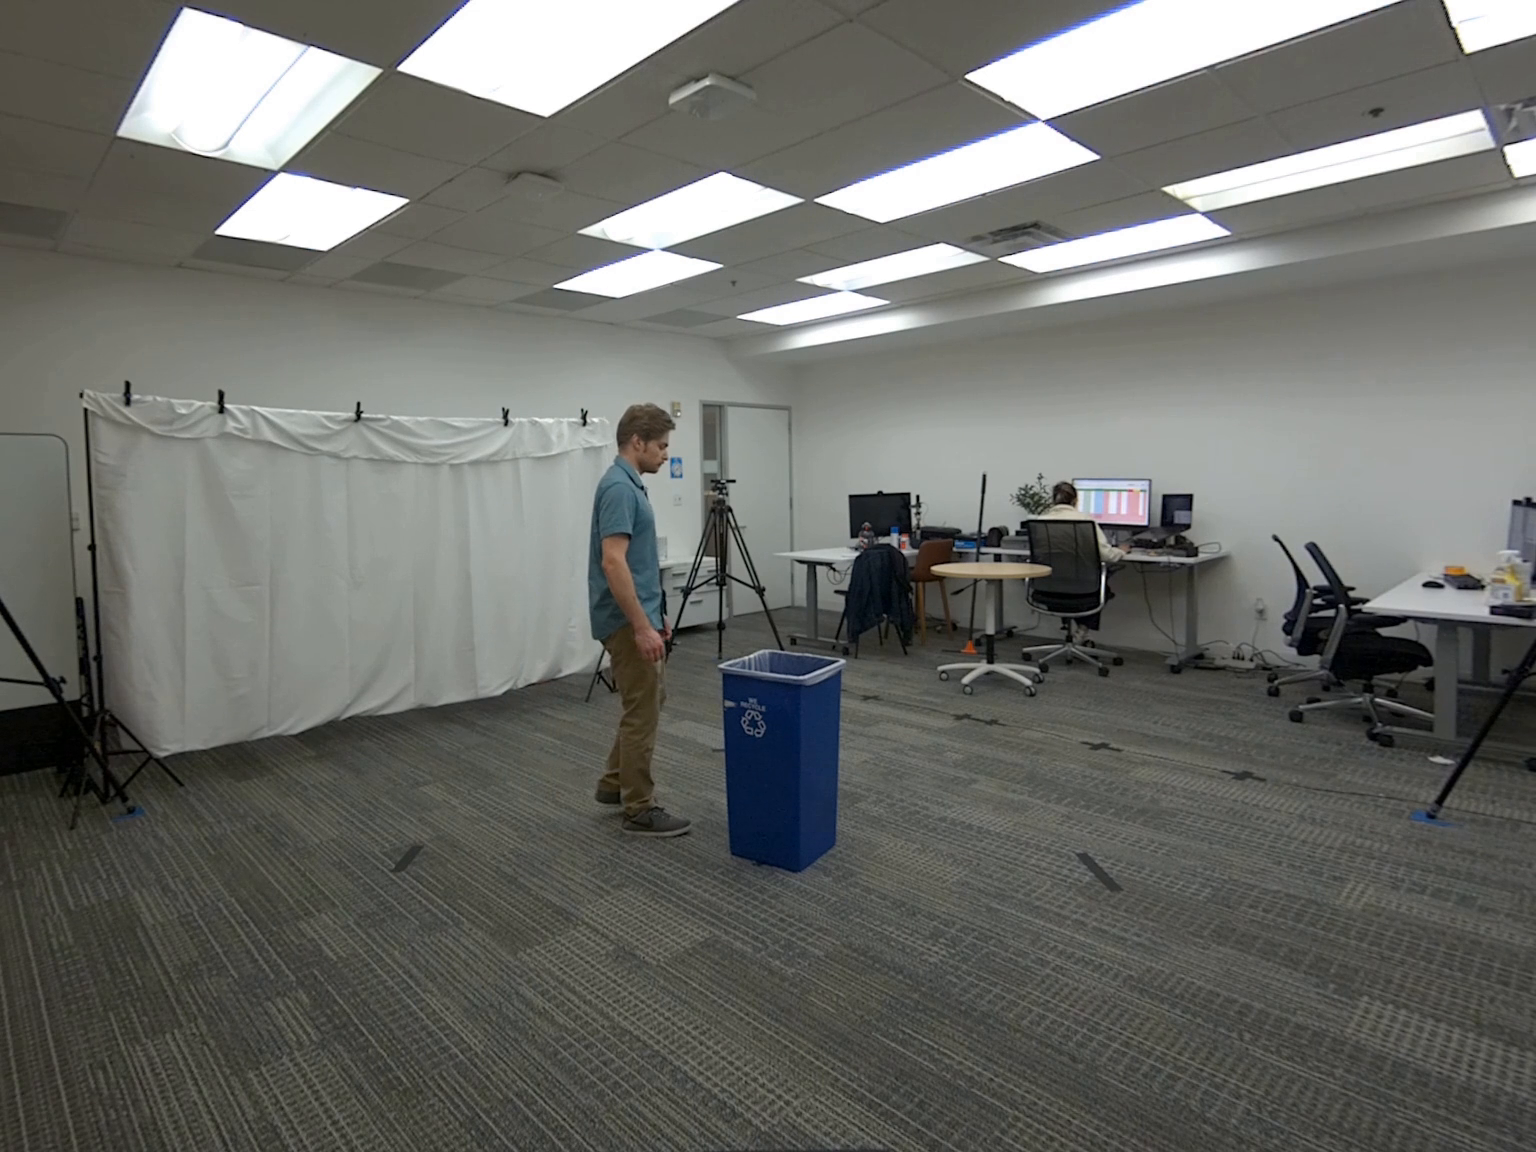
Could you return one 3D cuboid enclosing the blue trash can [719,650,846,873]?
[{"bbox_3d":[0.064,0.678,3.204,0.384,0.711,0.369,2,5,33],"label":"blue trash can"}]
